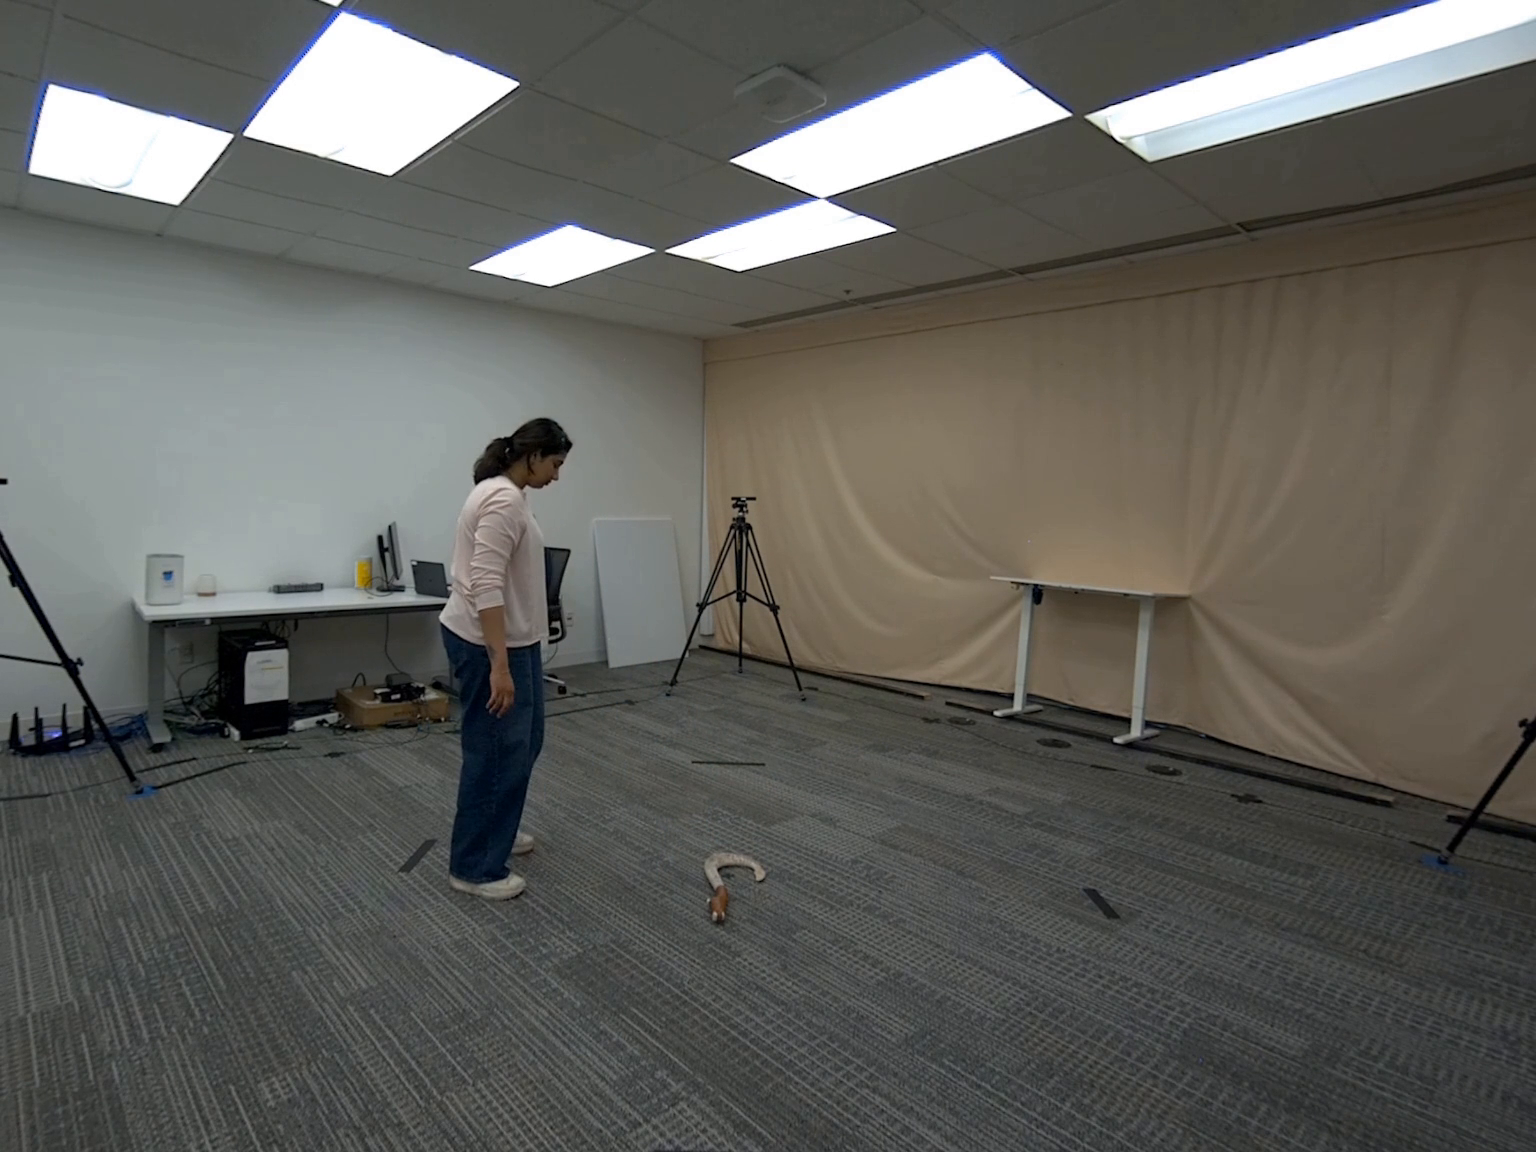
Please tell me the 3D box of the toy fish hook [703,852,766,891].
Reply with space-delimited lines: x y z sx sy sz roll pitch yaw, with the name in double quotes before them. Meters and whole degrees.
"toy fish hook" -0.126 1.095 2.978 0.224 0.048 0.508 0 6 -2
